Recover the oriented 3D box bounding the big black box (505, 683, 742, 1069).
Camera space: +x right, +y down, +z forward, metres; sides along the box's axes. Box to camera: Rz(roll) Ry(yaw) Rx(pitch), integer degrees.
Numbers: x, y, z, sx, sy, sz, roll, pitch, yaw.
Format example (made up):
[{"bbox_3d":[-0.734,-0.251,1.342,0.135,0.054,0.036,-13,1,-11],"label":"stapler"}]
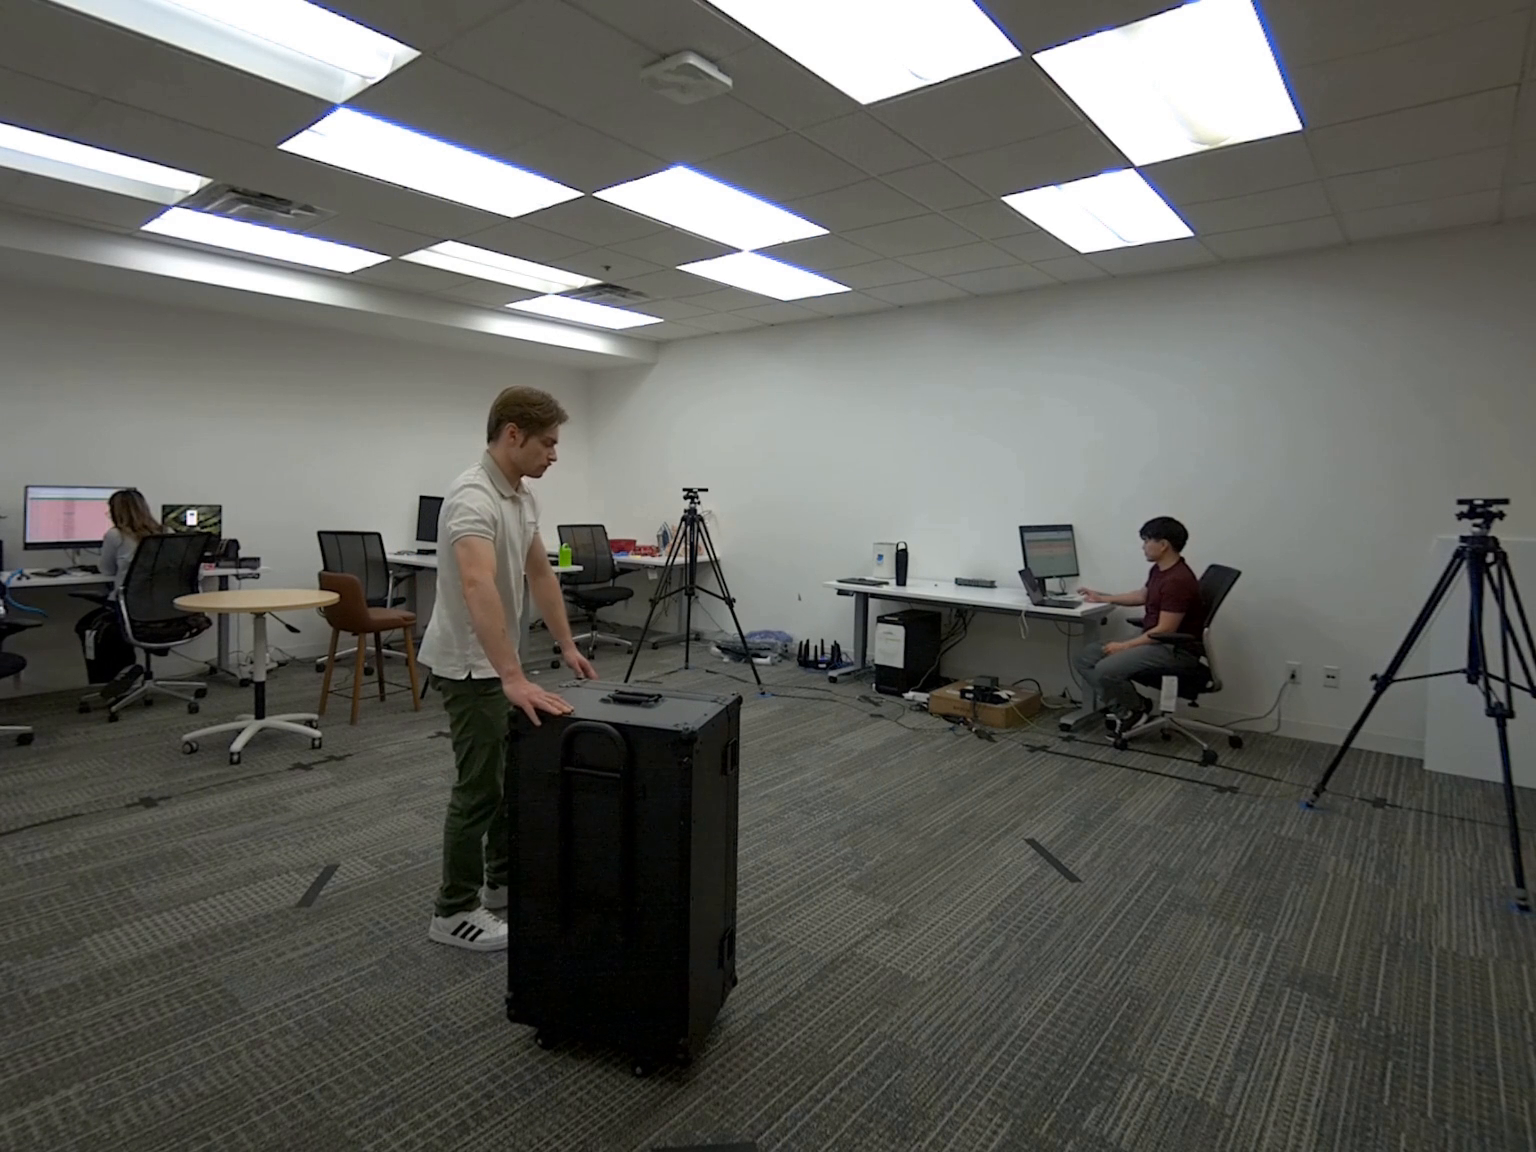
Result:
[{"bbox_3d":[-0.362,0.737,2.153,0.534,0.866,0.379,2,4,18],"label":"big black box"}]
